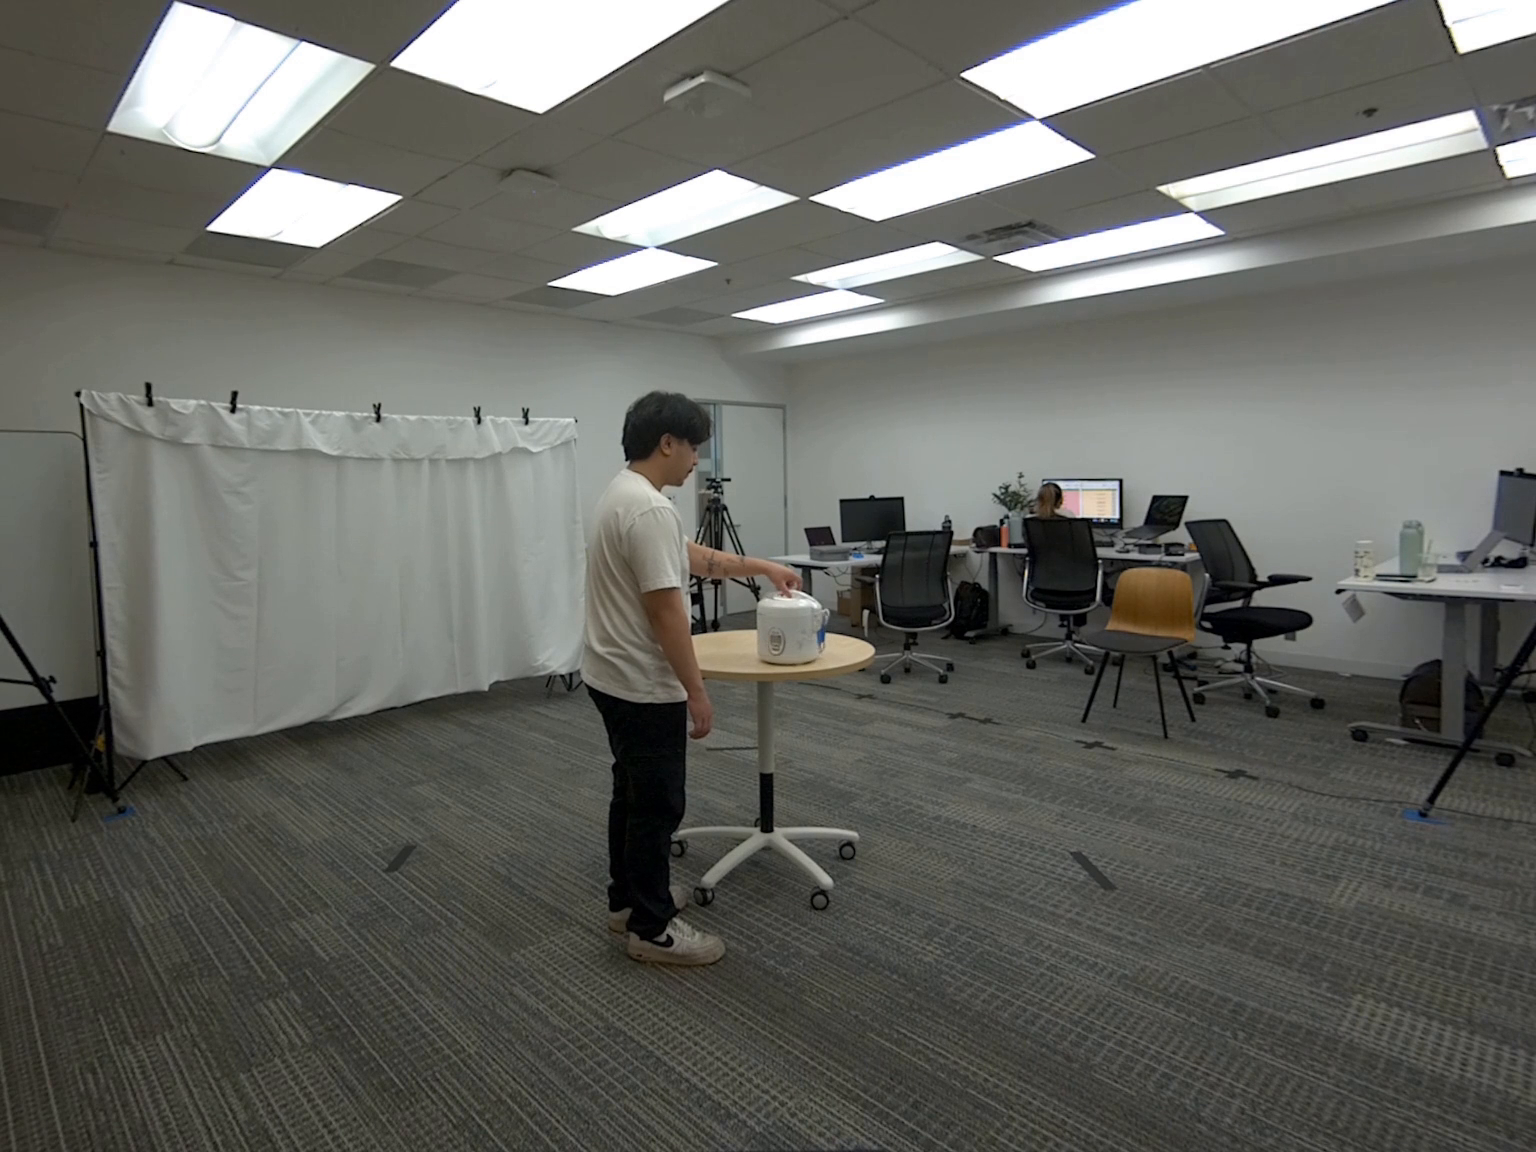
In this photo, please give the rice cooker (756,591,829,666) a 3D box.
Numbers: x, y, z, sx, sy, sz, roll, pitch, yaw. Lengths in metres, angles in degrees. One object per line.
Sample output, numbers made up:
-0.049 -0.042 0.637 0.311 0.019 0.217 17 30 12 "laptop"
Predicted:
0.074 0.161 2.797 0.225 0.232 0.213 0 3 24 "rice cooker"
